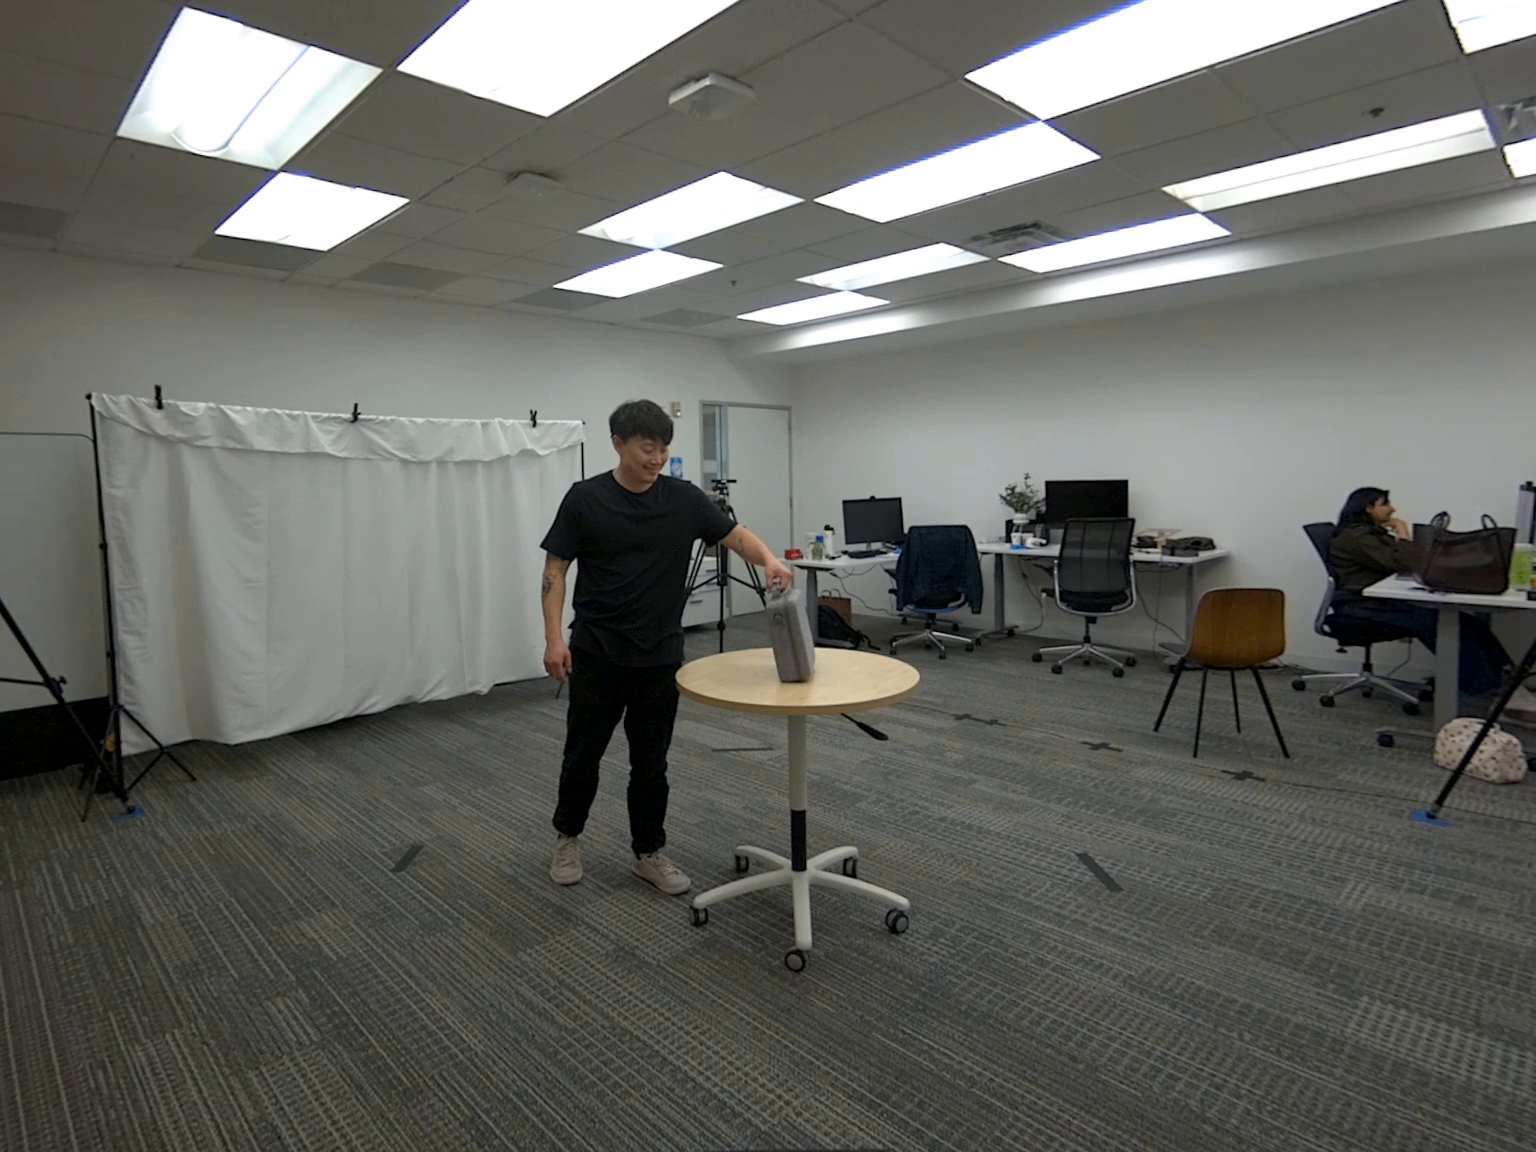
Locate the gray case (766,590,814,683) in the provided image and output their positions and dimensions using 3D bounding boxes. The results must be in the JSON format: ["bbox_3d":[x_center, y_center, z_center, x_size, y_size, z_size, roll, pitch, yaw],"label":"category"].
[{"bbox_3d":[0.075,0.175,2.681,0.105,0.260,0.256,-9,3,7],"label":"gray case"}]
